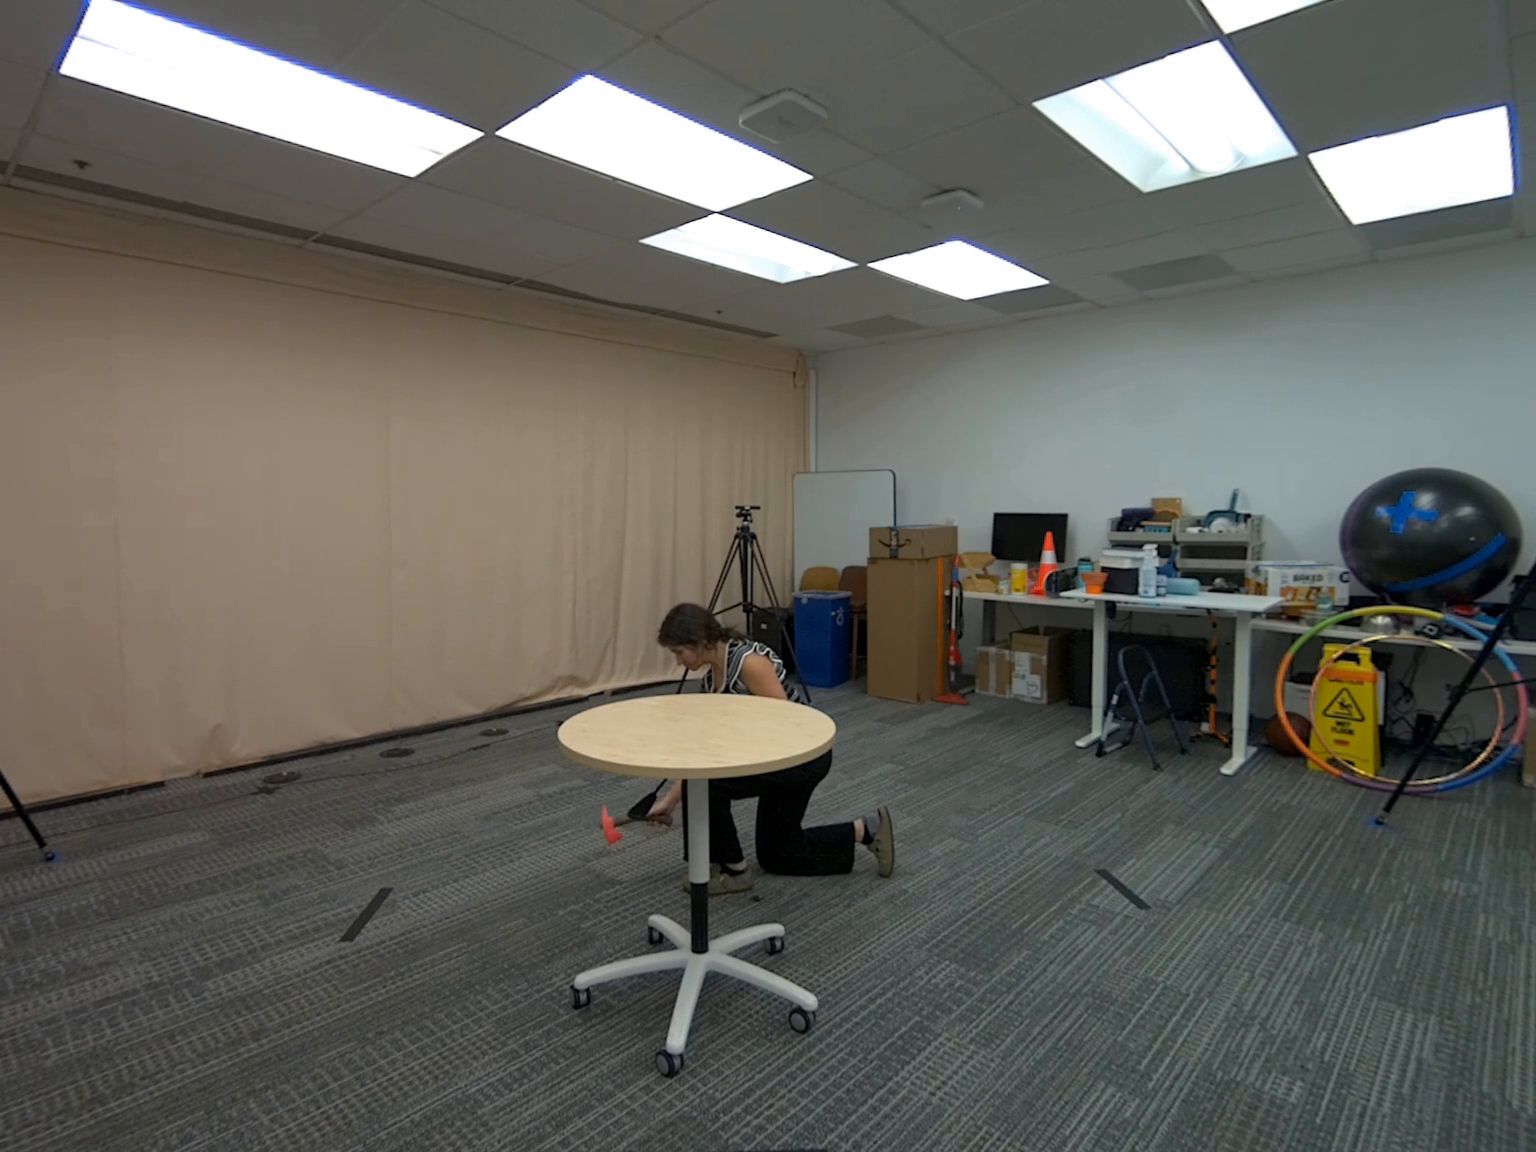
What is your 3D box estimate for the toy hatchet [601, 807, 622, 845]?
[{"bbox_3d":[-0.489,0.945,3.132,0.270,0.133,0.029,7,-34,-1],"label":"toy hatchet"}]
